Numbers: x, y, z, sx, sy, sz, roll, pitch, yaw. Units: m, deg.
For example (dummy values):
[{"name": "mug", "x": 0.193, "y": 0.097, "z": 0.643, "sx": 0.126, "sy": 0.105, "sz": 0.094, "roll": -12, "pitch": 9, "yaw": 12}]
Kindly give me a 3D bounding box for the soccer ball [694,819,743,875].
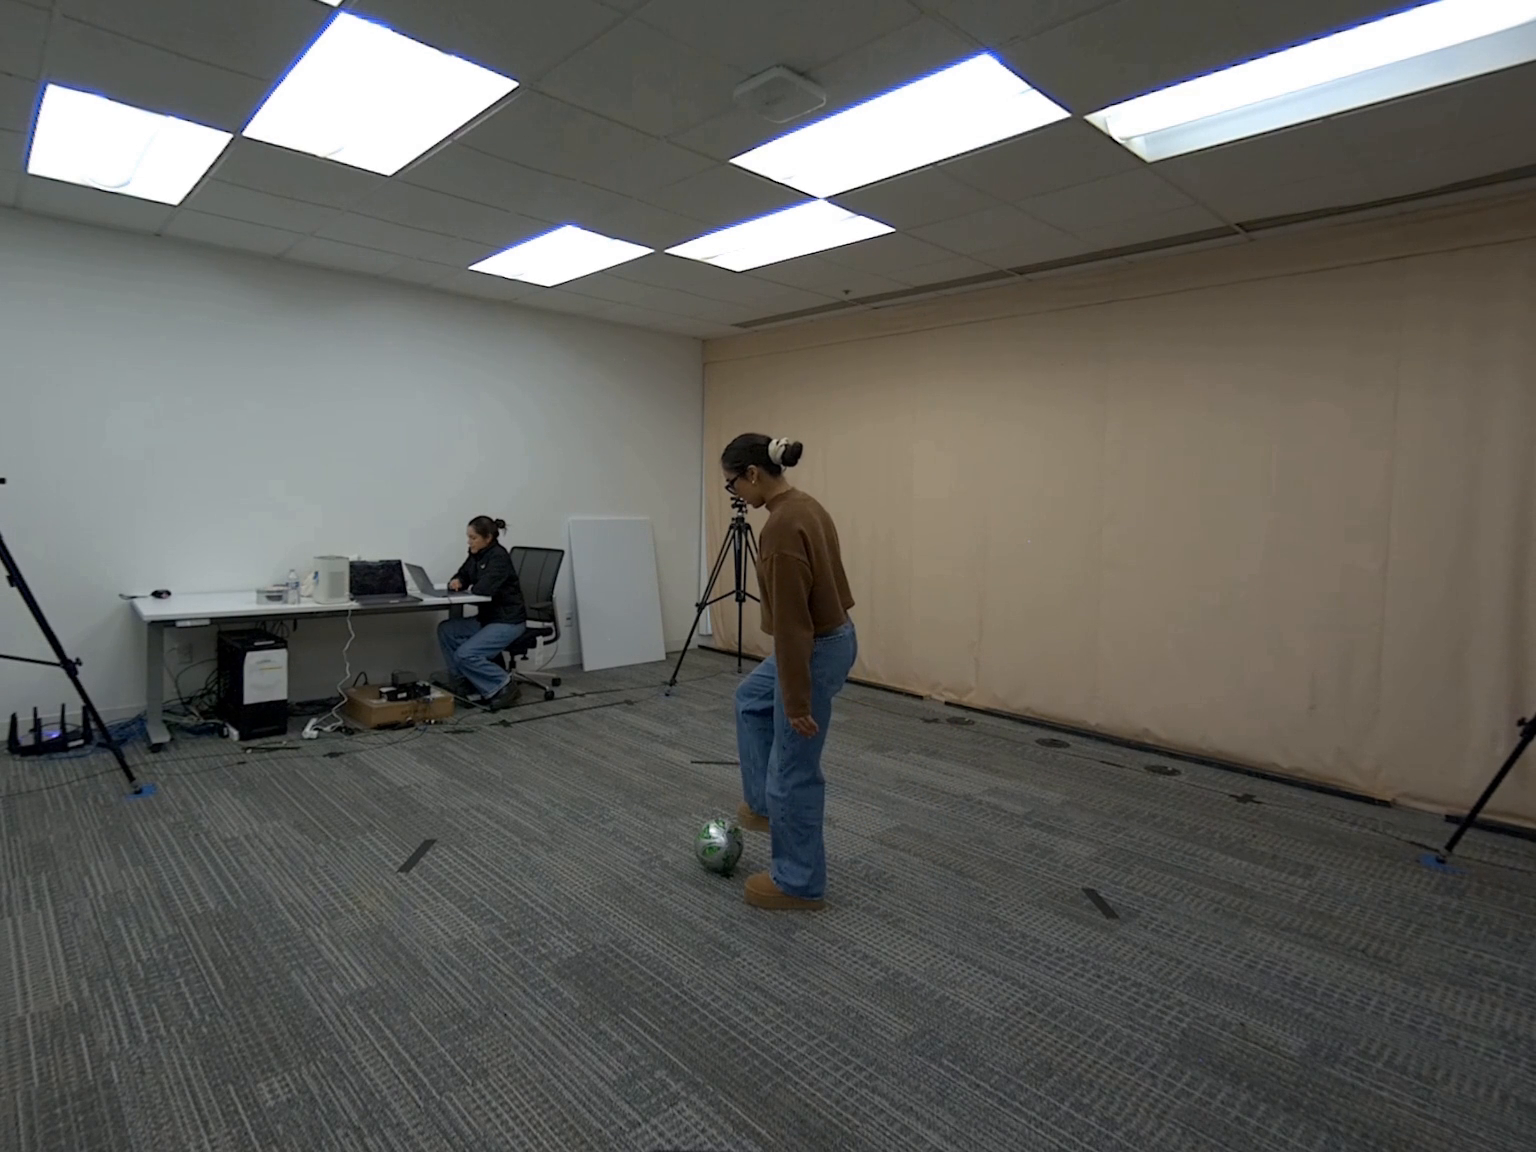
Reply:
[{"name": "soccer ball", "x": -0.197, "y": 1.008, "z": 3.159, "sx": 0.187, "sy": 0.187, "sz": 0.188, "roll": 1, "pitch": 4, "yaw": -1}]
